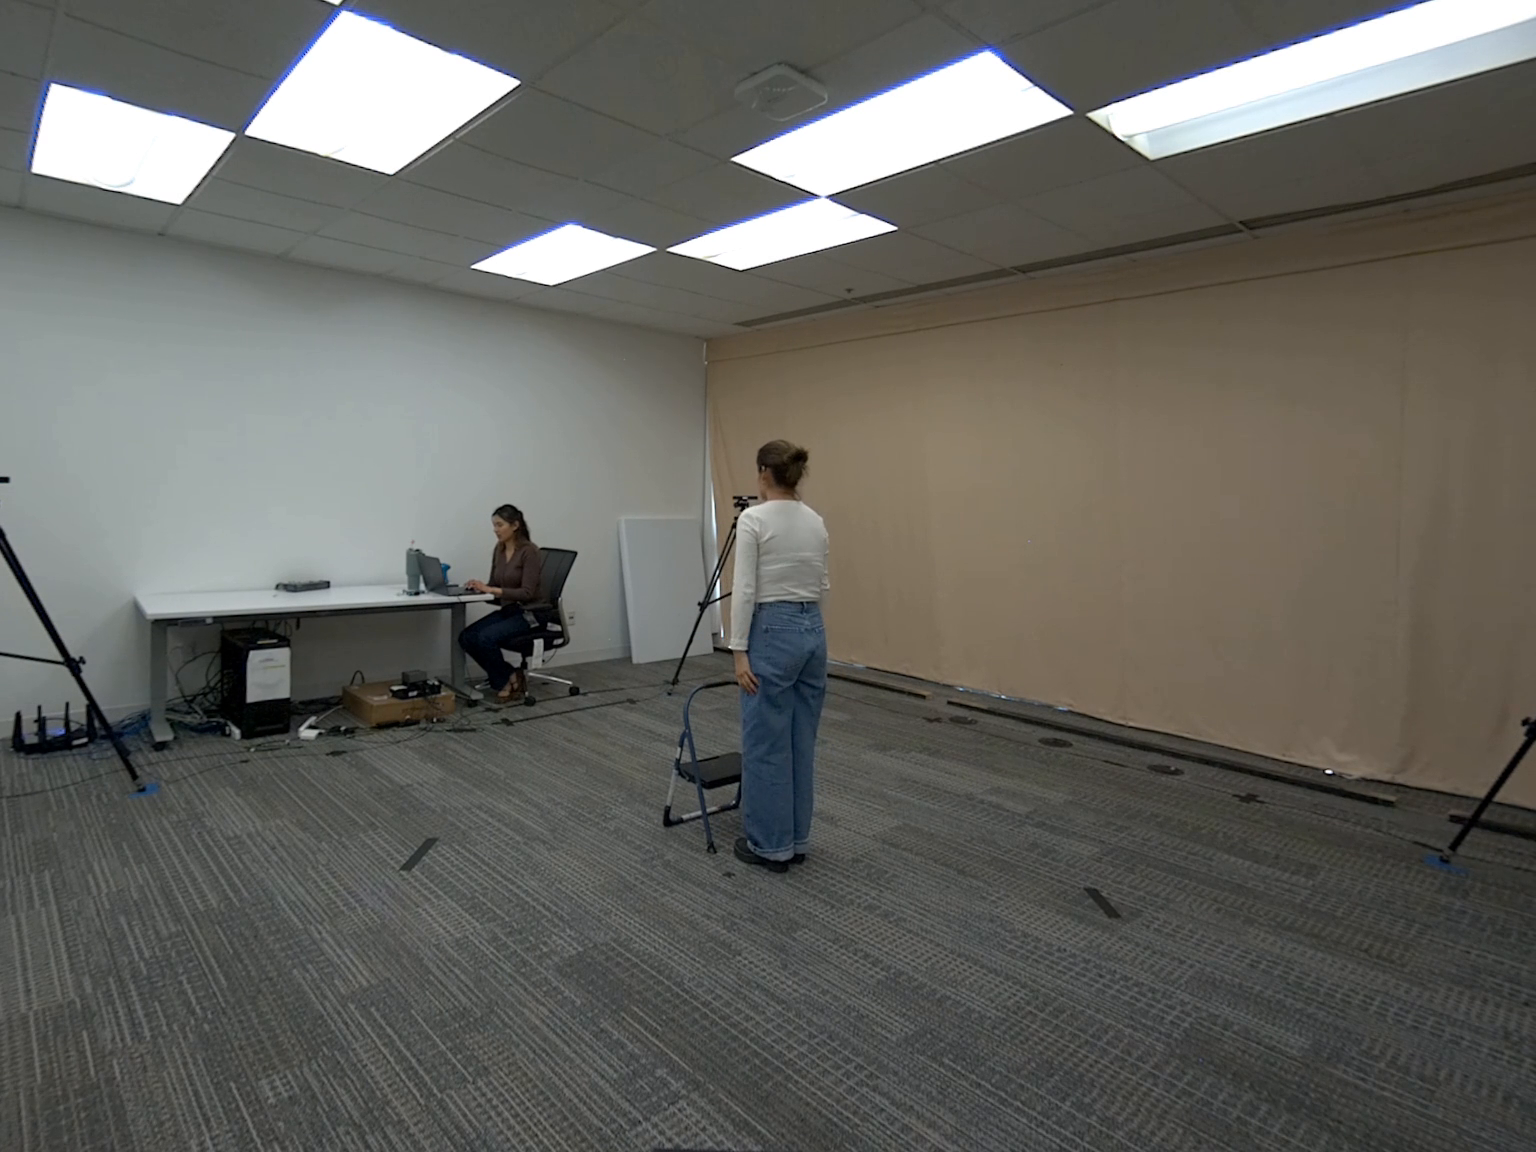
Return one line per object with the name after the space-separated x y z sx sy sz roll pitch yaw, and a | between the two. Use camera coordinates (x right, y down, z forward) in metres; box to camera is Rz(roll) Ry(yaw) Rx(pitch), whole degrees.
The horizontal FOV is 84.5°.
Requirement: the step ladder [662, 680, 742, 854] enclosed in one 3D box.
-0.181 0.762 3.538 0.420 0.605 0.358 -1 4 -42 | step ladder
